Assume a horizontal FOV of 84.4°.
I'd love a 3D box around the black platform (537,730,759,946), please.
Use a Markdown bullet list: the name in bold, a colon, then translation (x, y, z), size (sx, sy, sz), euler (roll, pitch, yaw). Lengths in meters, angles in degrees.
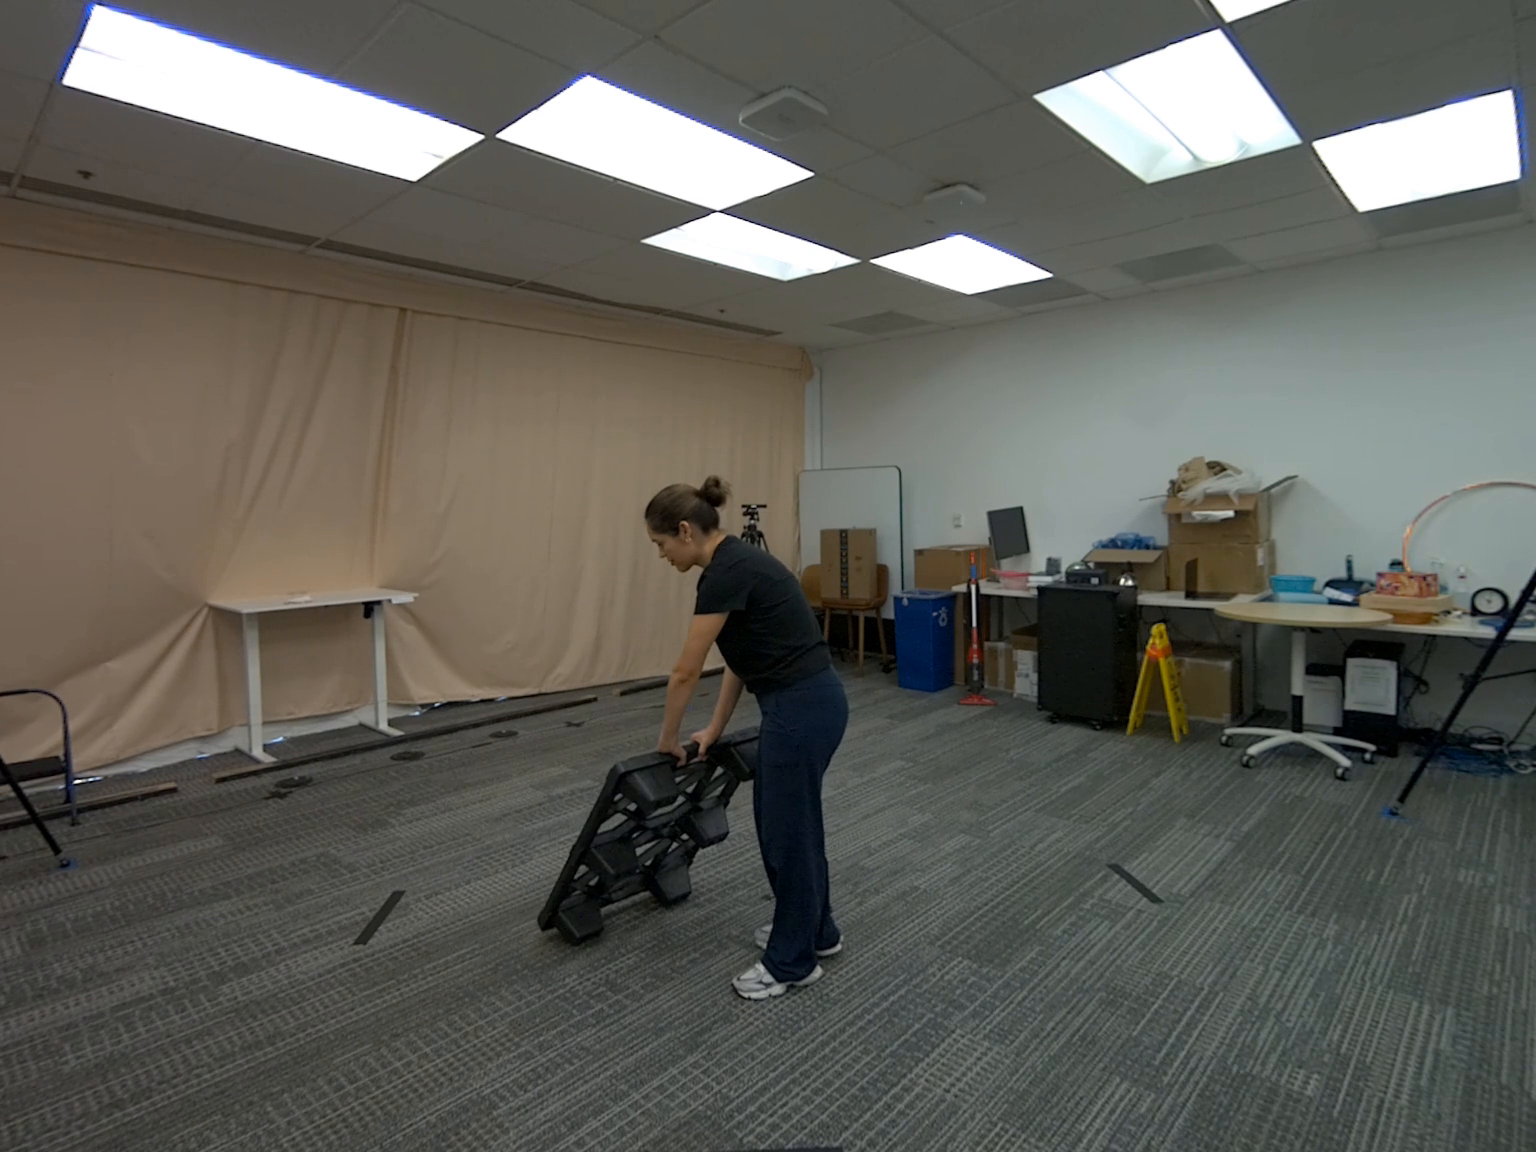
- **black platform**: translation (-0.326, 0.841, 2.692), size (0.587, 0.804, 0.148), euler (-5, 43, -43)
